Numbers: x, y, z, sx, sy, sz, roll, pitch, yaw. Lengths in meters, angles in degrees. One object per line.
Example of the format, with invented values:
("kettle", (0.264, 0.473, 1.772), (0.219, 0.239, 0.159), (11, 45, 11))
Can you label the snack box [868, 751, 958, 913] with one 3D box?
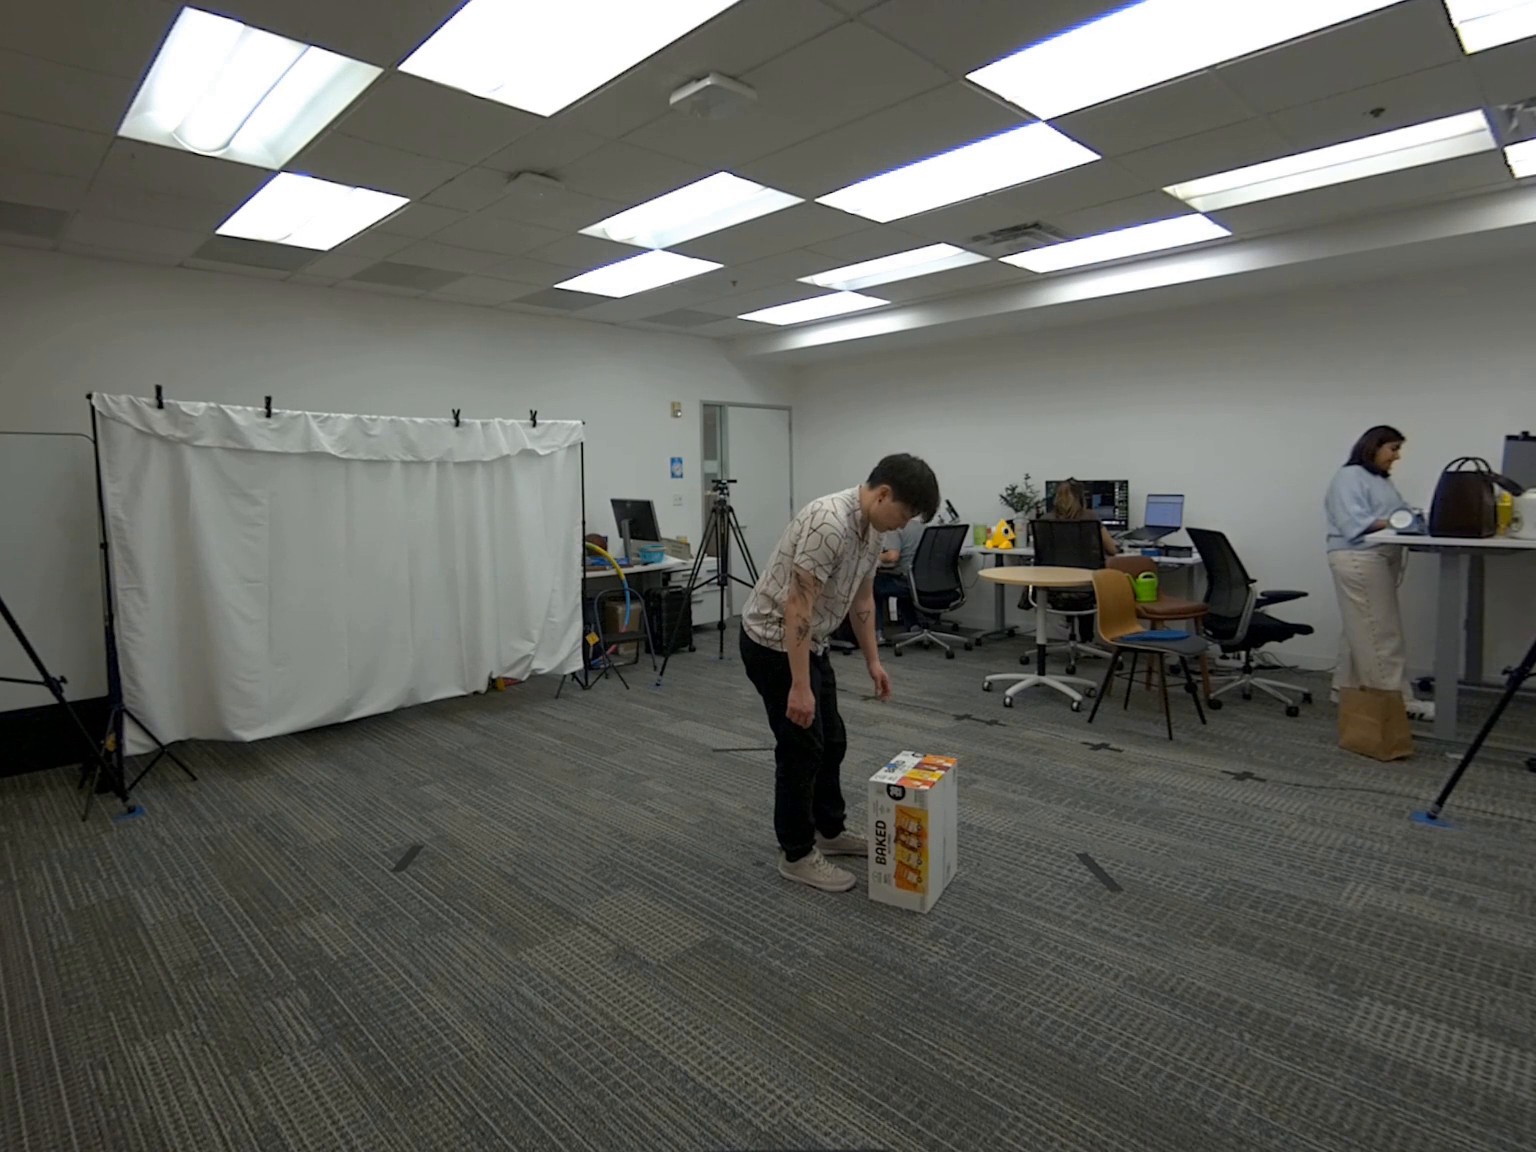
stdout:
("snack box", (0.505, 0.858, 2.907), (0.211, 0.404, 0.333), (1, 5, 30))
